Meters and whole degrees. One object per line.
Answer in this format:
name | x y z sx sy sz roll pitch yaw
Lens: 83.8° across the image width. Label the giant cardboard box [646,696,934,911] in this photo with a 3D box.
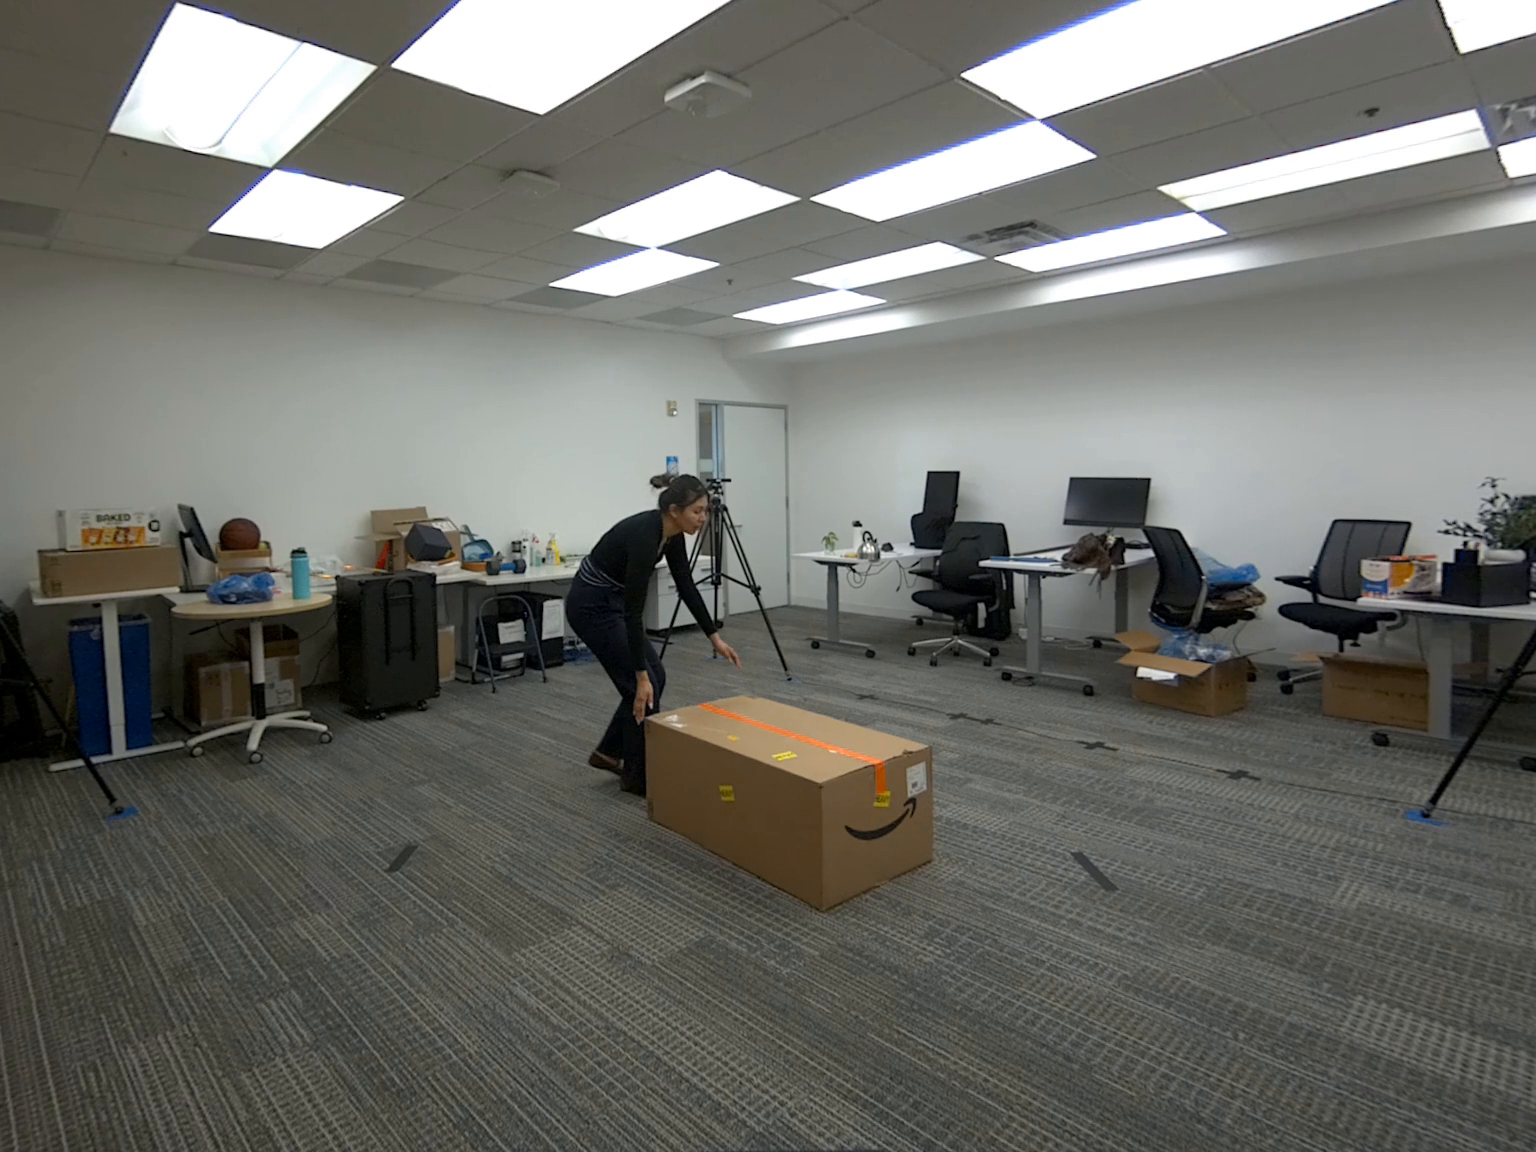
giant cardboard box | 0.048 0.806 3.303 0.563 0.424 1.057 -6 8 -39
